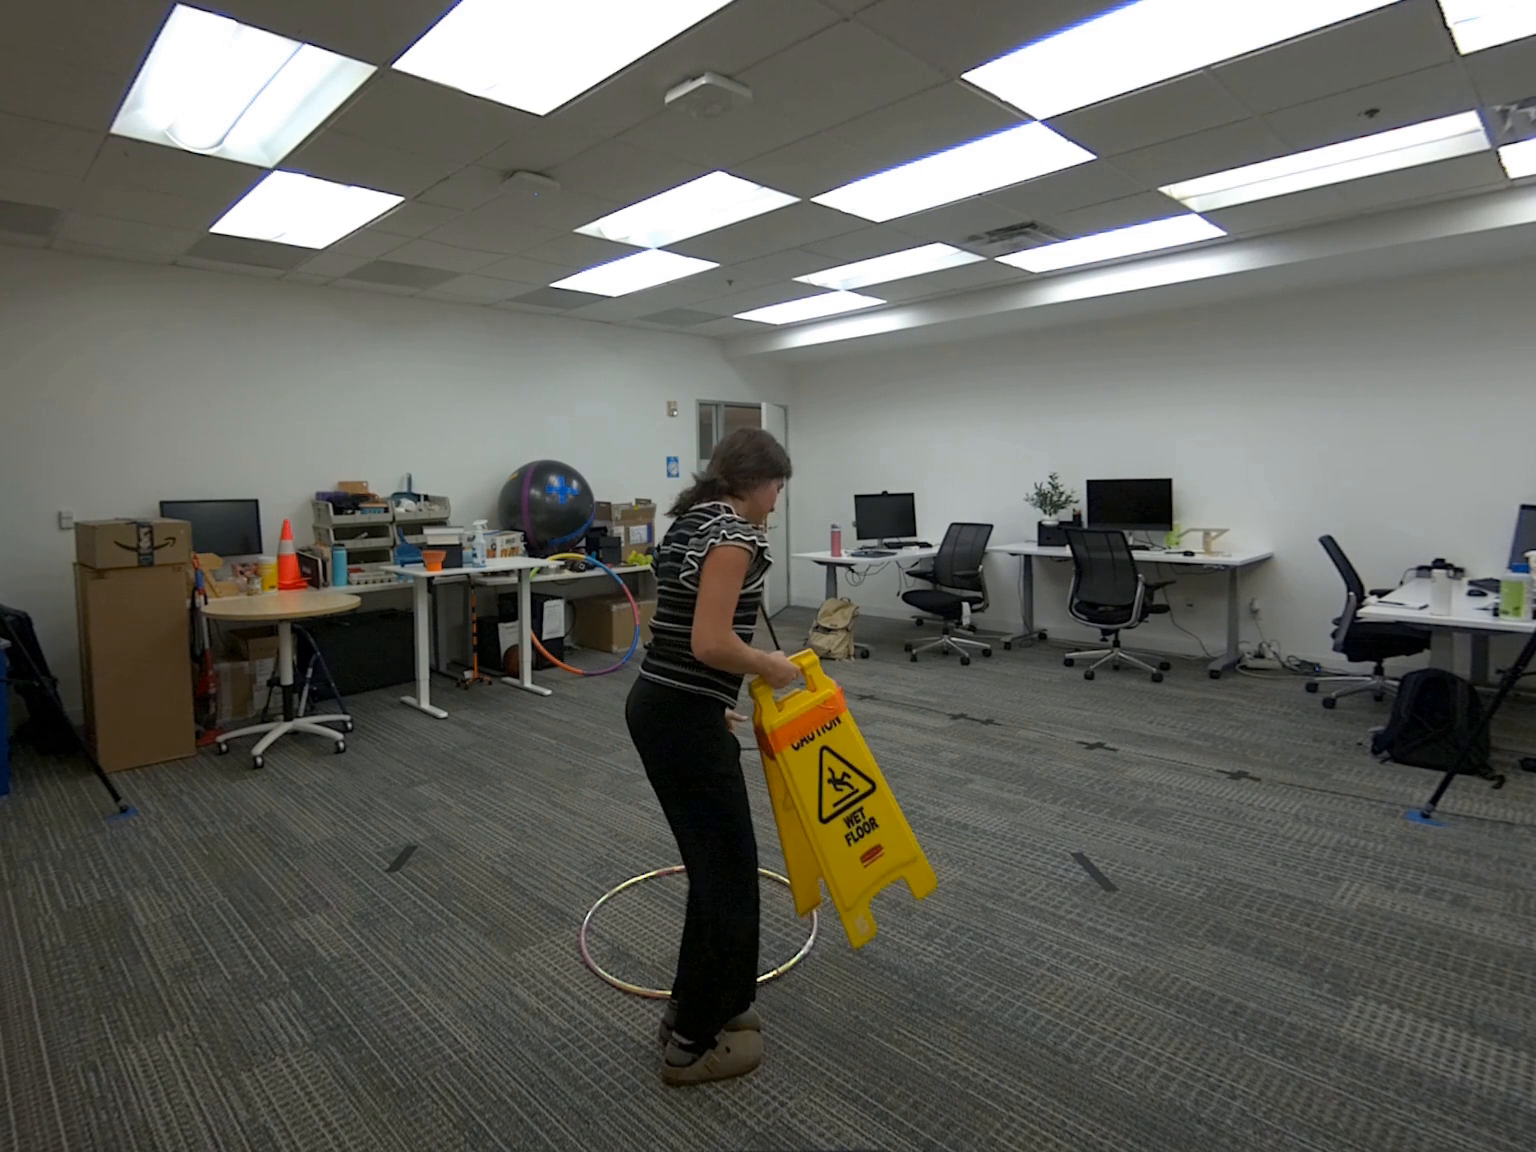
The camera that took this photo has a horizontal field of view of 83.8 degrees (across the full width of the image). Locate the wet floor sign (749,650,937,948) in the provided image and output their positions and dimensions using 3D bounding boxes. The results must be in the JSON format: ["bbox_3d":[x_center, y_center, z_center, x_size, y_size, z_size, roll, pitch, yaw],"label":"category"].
[{"bbox_3d":[0.138,0.508,2.126,0.278,0.641,0.296,-23,8,-28],"label":"wet floor sign"}]
